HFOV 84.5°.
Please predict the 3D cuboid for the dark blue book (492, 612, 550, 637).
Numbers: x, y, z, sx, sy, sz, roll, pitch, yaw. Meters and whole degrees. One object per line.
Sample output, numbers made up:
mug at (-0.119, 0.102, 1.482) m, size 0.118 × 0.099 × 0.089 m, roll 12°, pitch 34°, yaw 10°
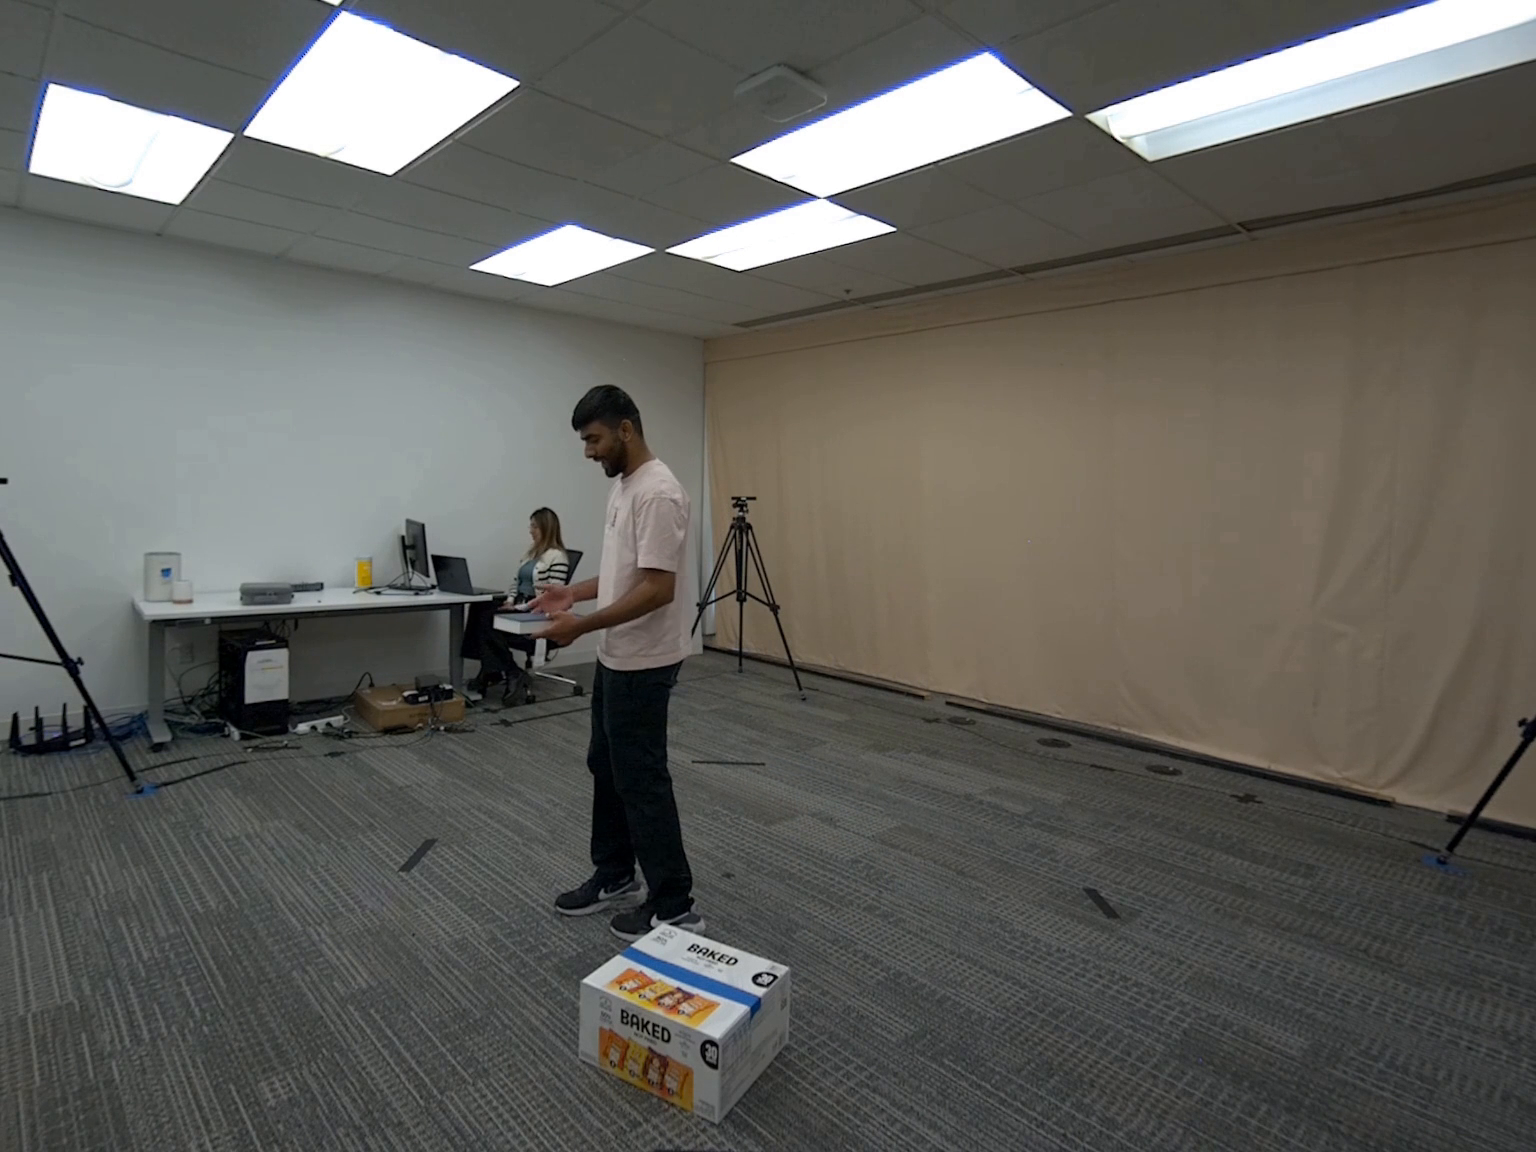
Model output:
dark blue book at (-0.710, 0.142, 2.592) m, size 0.168 × 0.045 × 0.239 m, roll 7°, pitch 5°, yaw 43°
